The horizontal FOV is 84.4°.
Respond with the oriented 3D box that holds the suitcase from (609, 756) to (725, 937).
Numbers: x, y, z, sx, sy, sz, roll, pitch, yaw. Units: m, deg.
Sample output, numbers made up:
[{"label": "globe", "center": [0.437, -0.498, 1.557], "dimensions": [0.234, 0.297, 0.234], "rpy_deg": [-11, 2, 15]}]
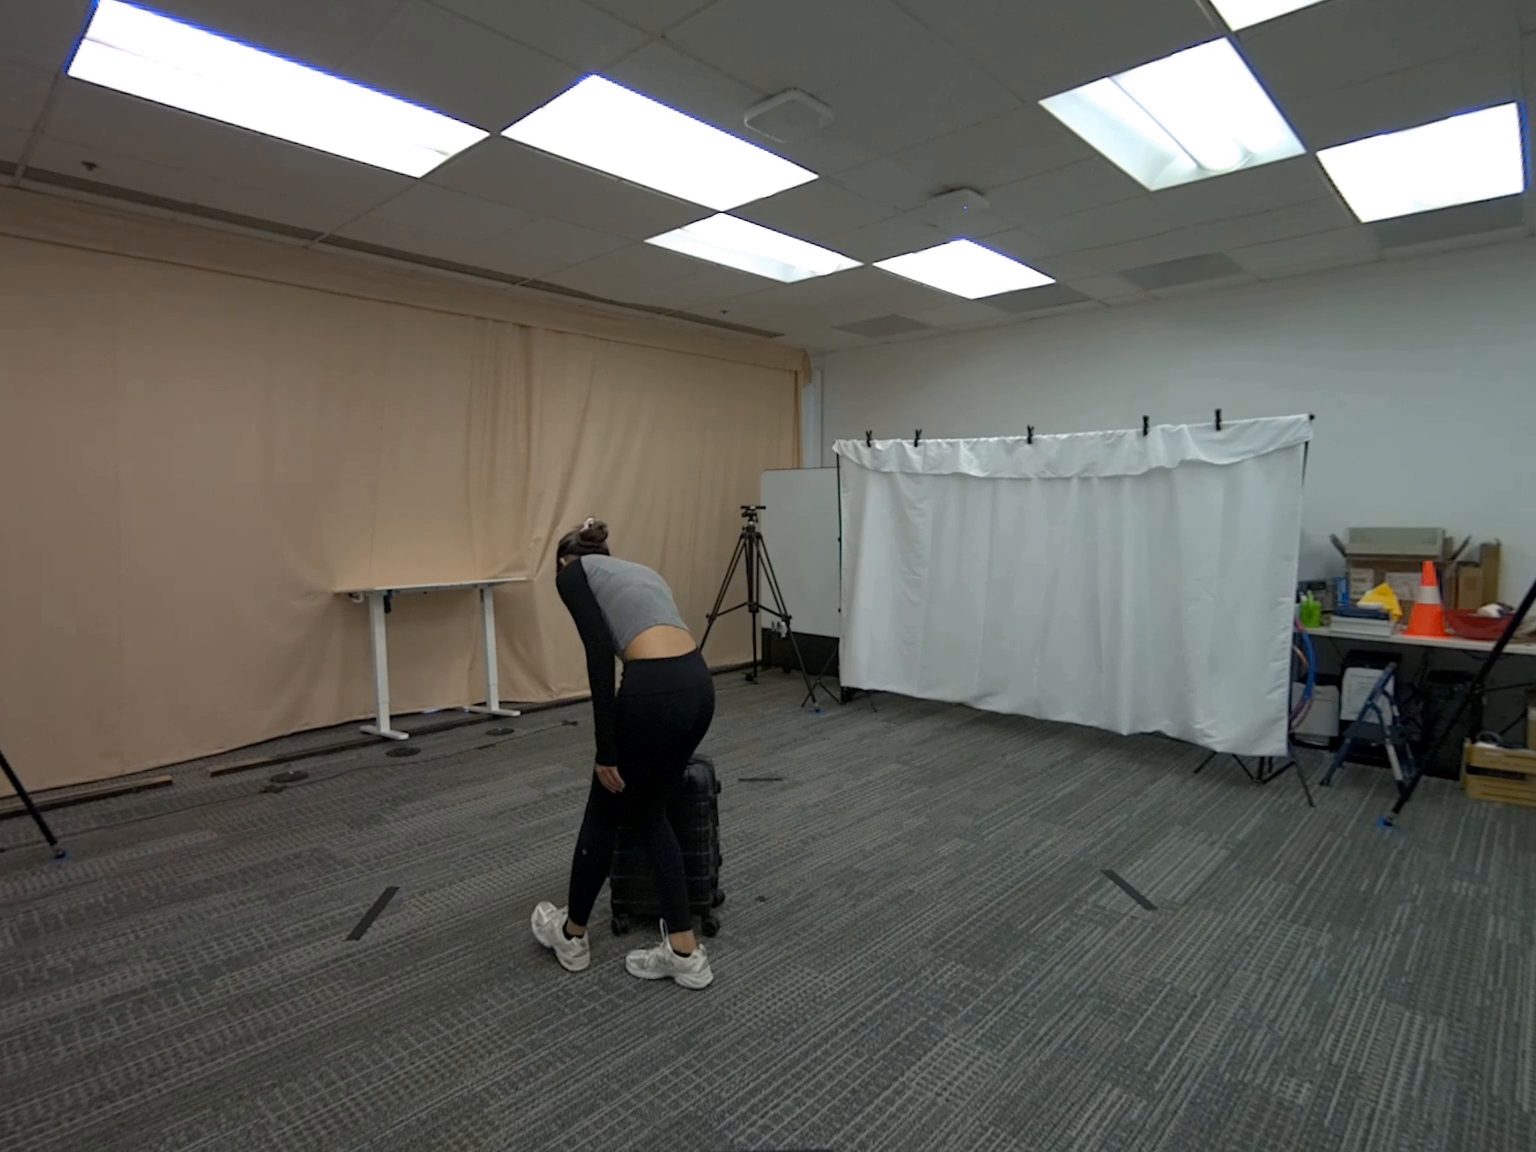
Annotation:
[{"label": "suitcase", "center": [-0.351, 0.879, 2.852], "dimensions": [0.378, 0.549, 0.246], "rpy_deg": [-2, 0, 6]}]
